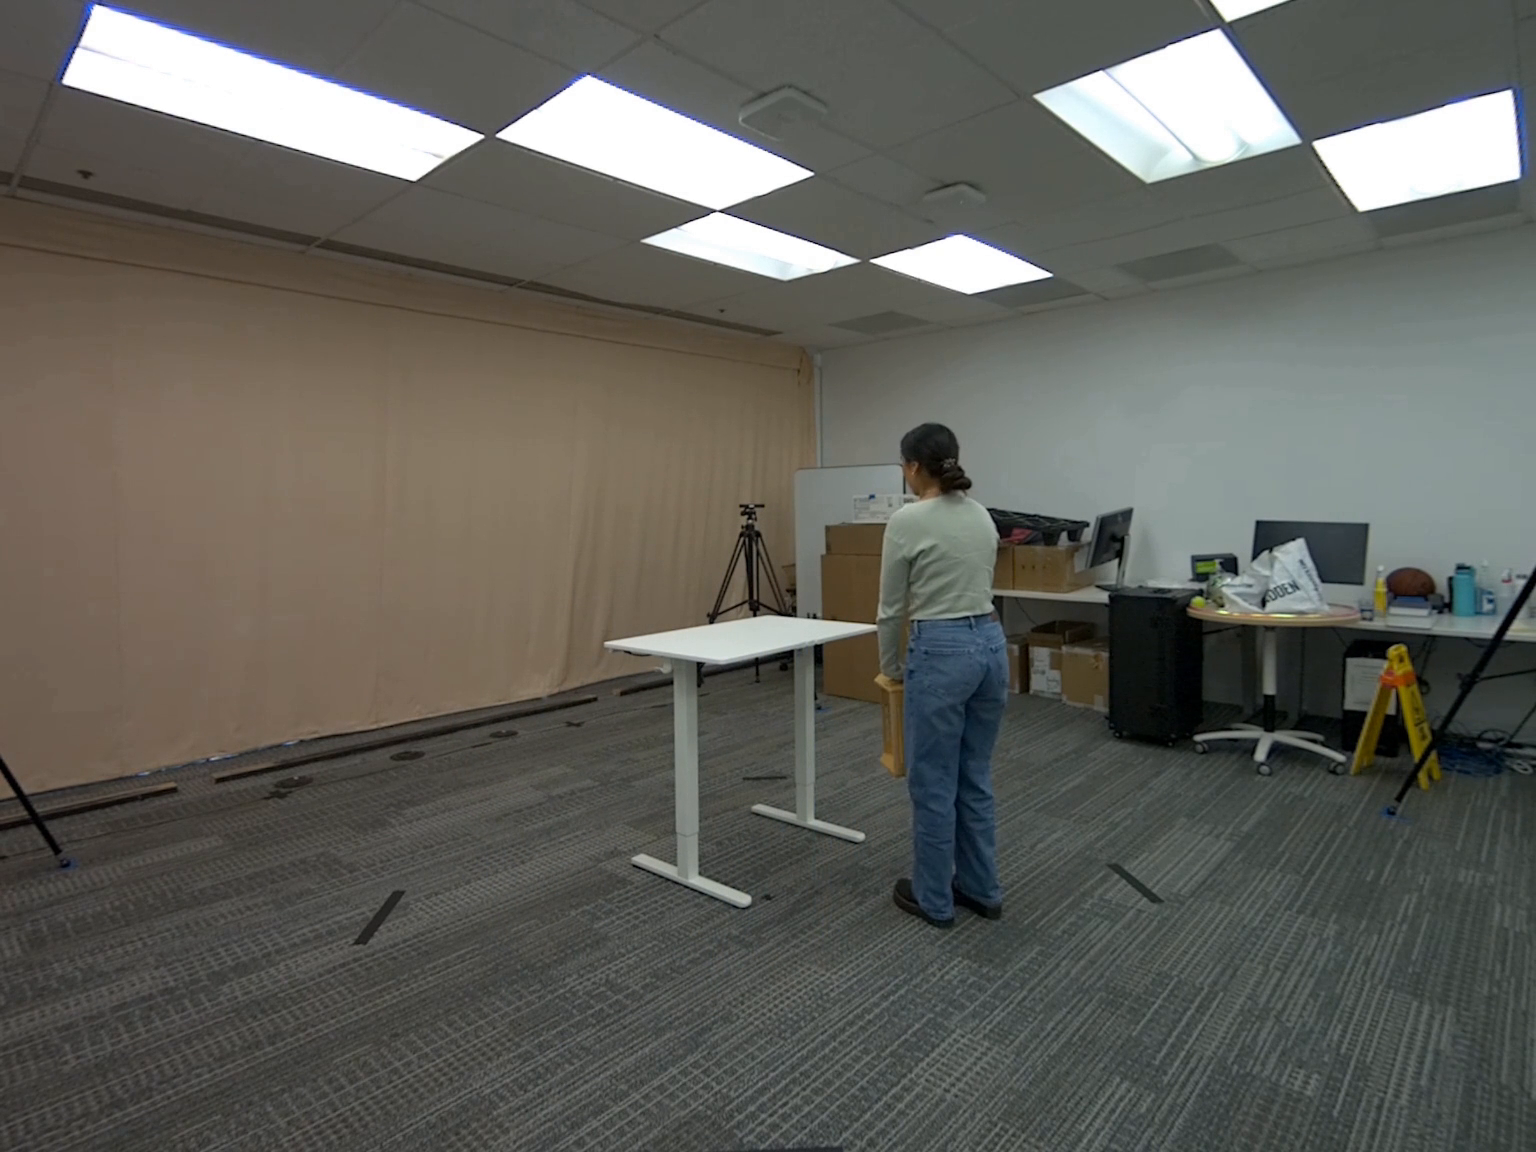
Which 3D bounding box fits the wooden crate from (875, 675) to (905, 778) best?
[{"bbox_3d":[0.507,0.511,2.985,0.271,0.322,0.306,-6,9,-8],"label":"wooden crate"}]
